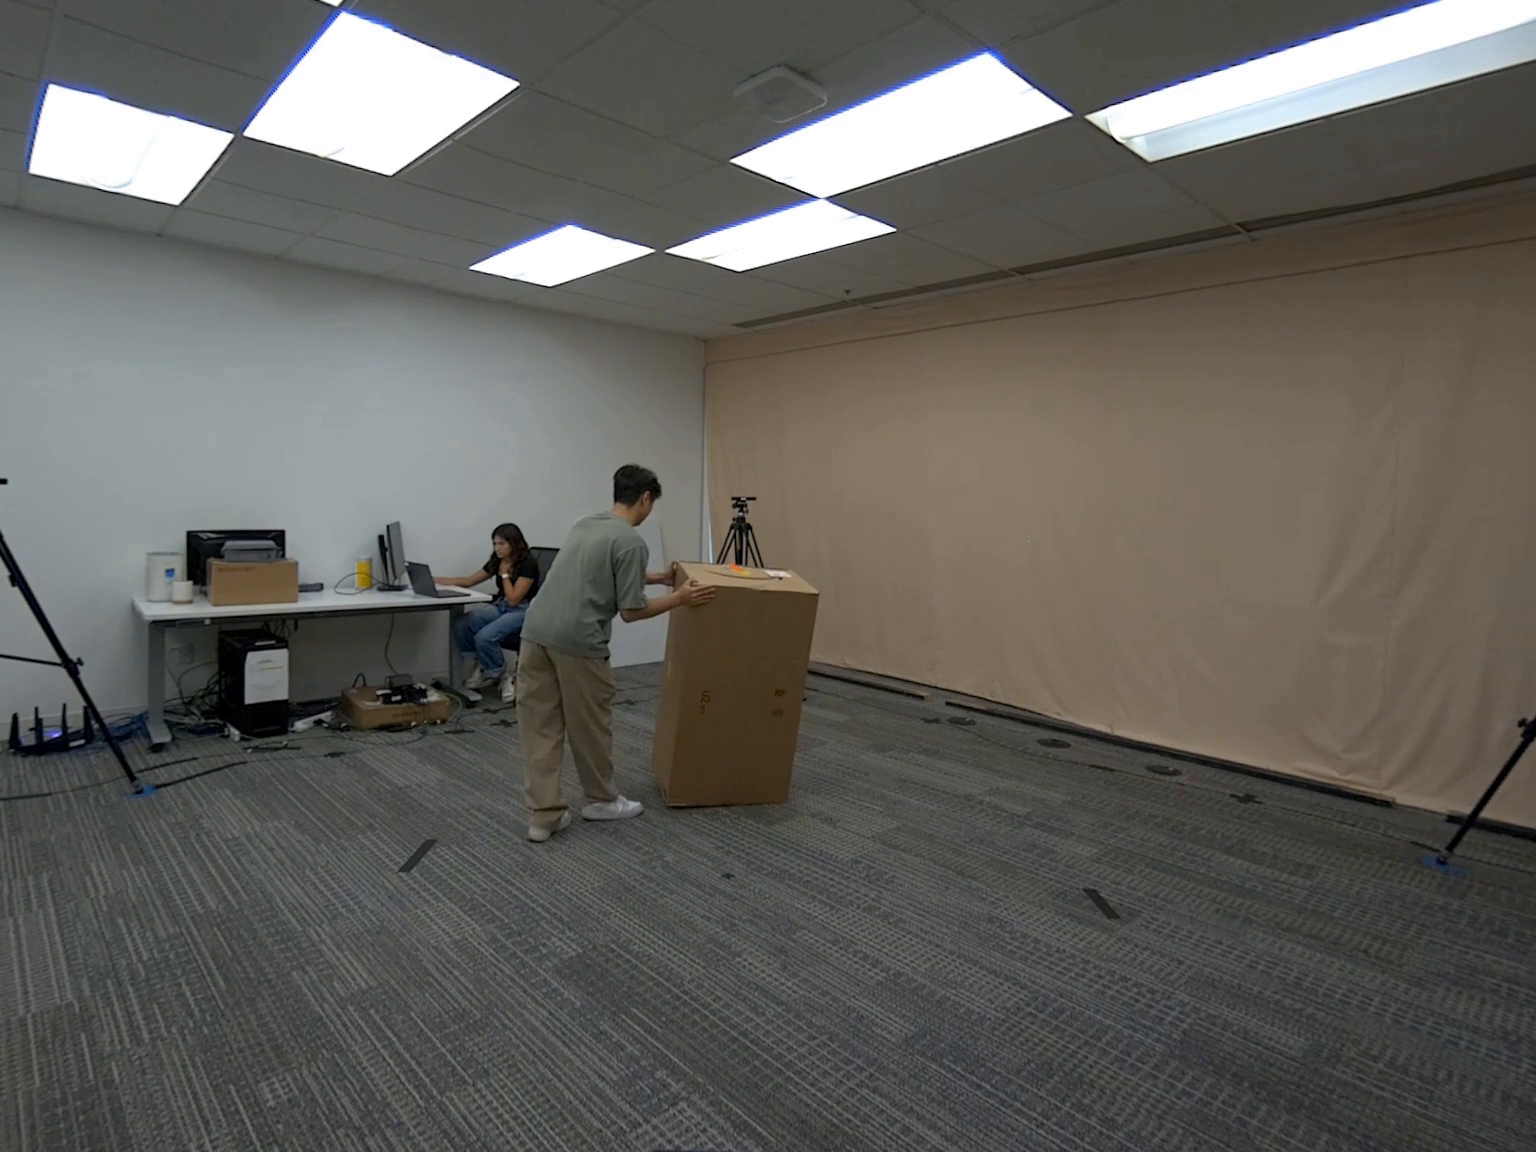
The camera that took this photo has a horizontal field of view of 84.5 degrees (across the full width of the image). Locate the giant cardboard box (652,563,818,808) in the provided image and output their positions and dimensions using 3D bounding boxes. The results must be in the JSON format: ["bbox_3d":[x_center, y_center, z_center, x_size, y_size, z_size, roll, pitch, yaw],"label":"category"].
[{"bbox_3d":[-0.183,0.496,3.918,0.569,1.019,0.435,4,11,-18],"label":"giant cardboard box"}]
